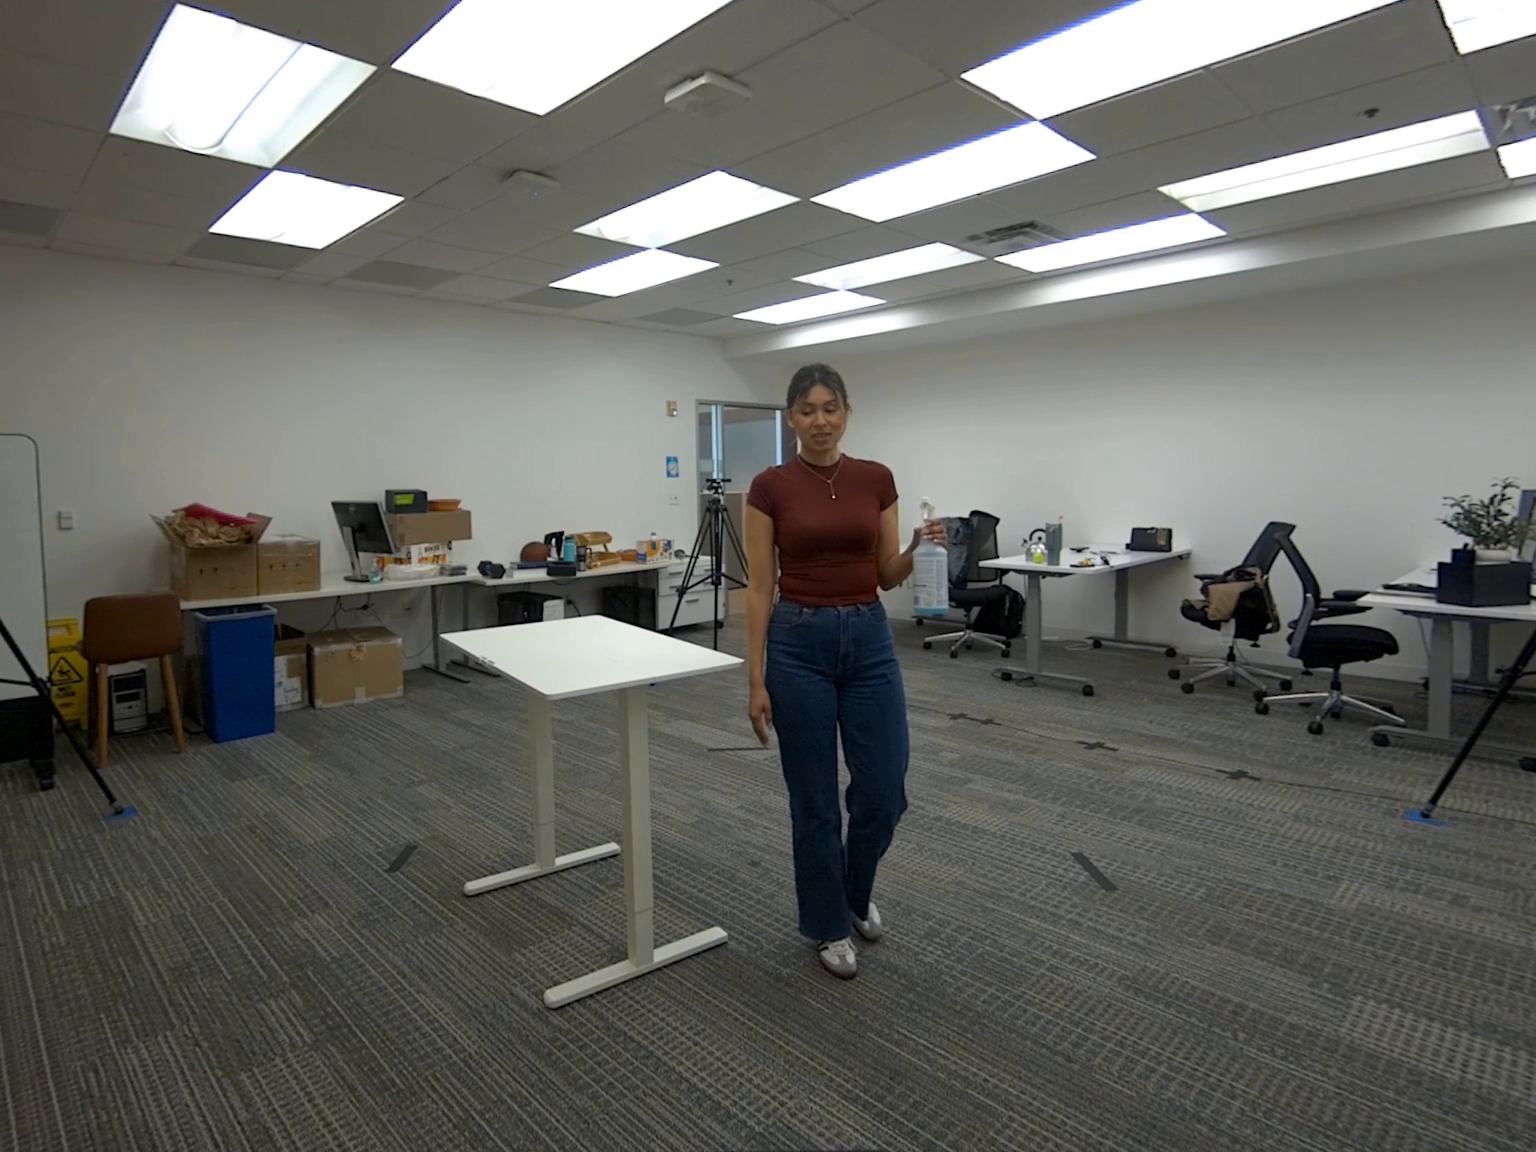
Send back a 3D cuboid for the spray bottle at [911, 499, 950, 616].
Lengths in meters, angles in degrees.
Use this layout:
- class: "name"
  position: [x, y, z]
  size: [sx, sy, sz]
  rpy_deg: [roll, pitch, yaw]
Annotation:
- class: "spray bottle"
  position: [0.422, -0.051, 2.193]
  size: [0.087, 0.297, 0.089]
  rpy_deg: [-3, 0, -44]
